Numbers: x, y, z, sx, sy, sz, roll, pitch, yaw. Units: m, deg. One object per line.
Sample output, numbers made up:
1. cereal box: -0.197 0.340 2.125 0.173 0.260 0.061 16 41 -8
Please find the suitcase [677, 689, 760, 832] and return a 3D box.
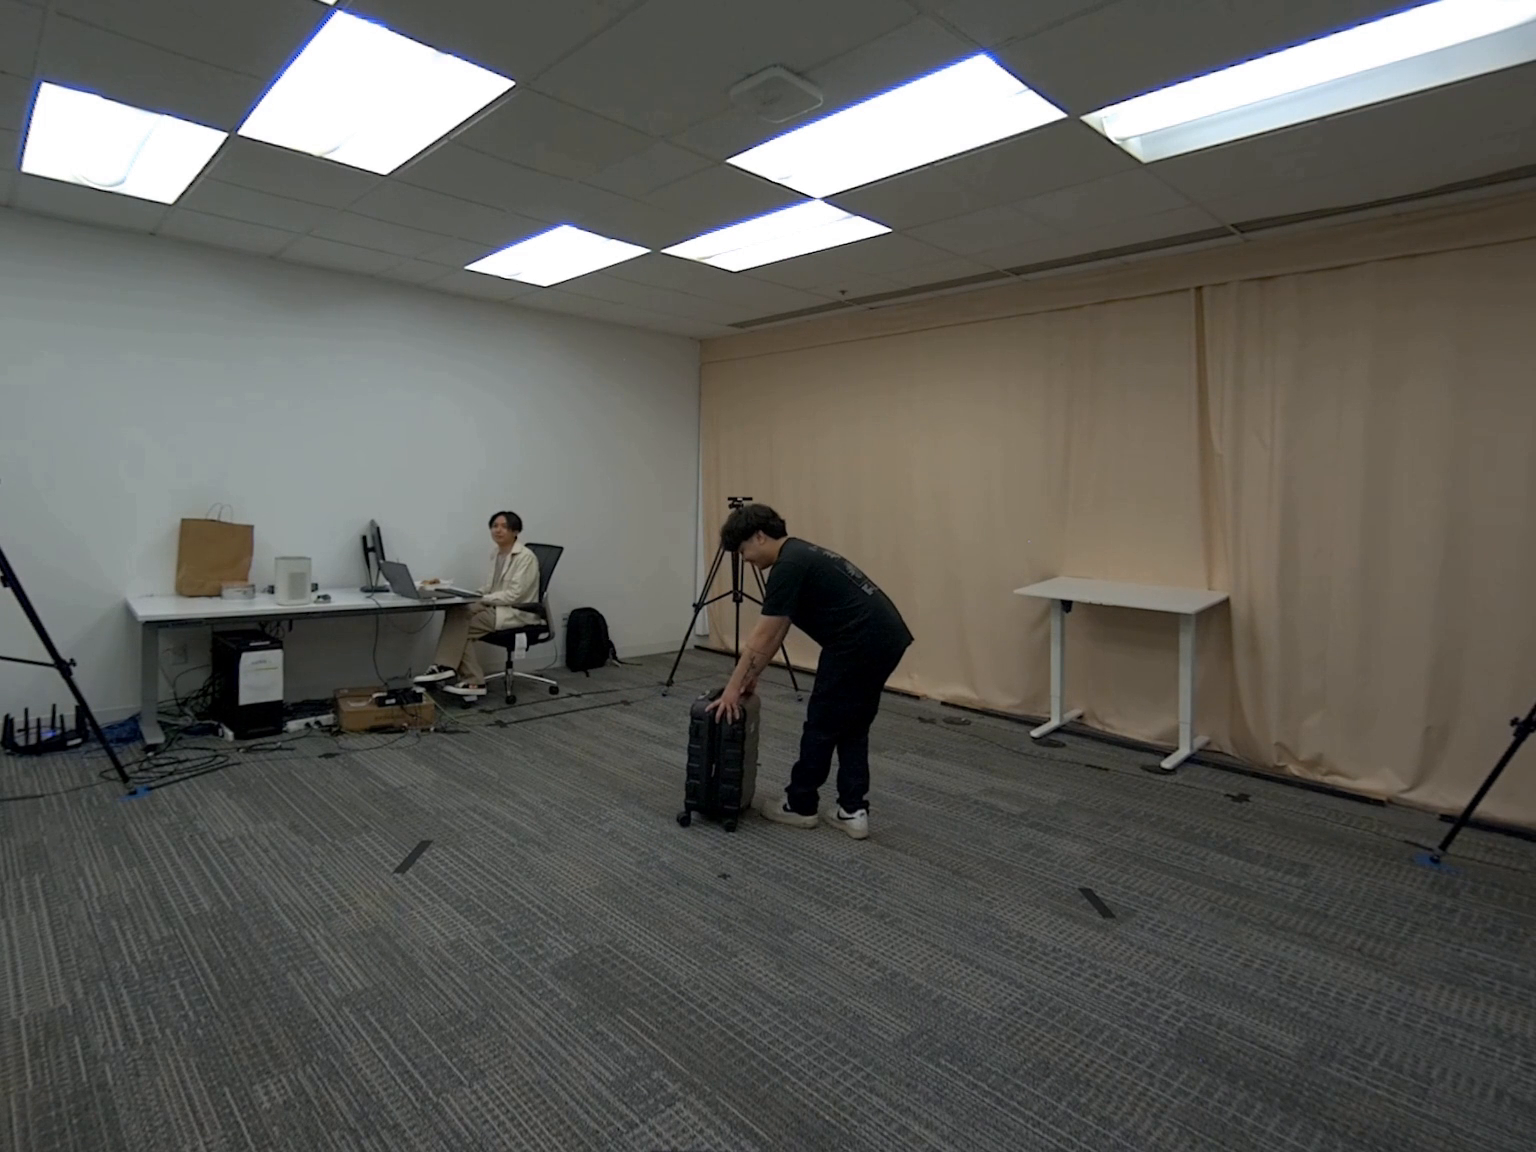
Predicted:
1. suitcase: -0.201 0.778 3.690 0.251 0.548 0.372 6 4 13
